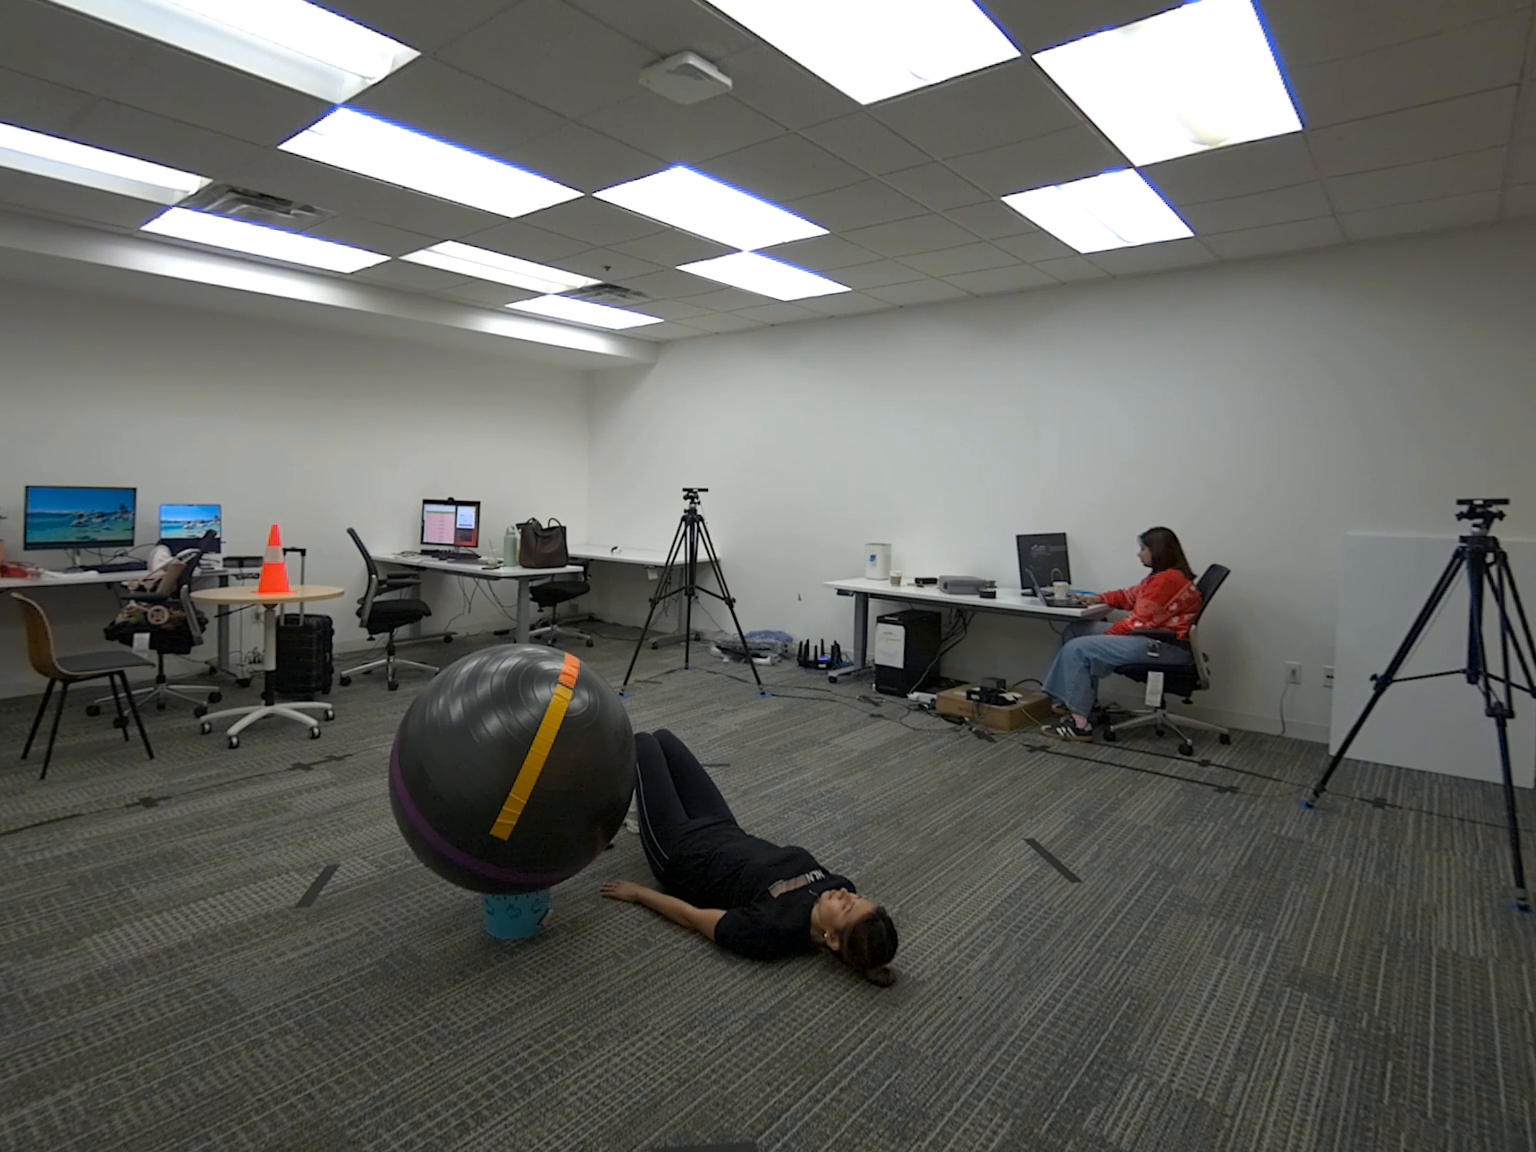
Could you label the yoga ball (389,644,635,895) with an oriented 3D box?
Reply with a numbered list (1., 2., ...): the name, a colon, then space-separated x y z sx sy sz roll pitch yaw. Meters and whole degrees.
1. yoga ball: -0.797 0.595 2.664 0.757 0.756 0.761 -3 3 -2
